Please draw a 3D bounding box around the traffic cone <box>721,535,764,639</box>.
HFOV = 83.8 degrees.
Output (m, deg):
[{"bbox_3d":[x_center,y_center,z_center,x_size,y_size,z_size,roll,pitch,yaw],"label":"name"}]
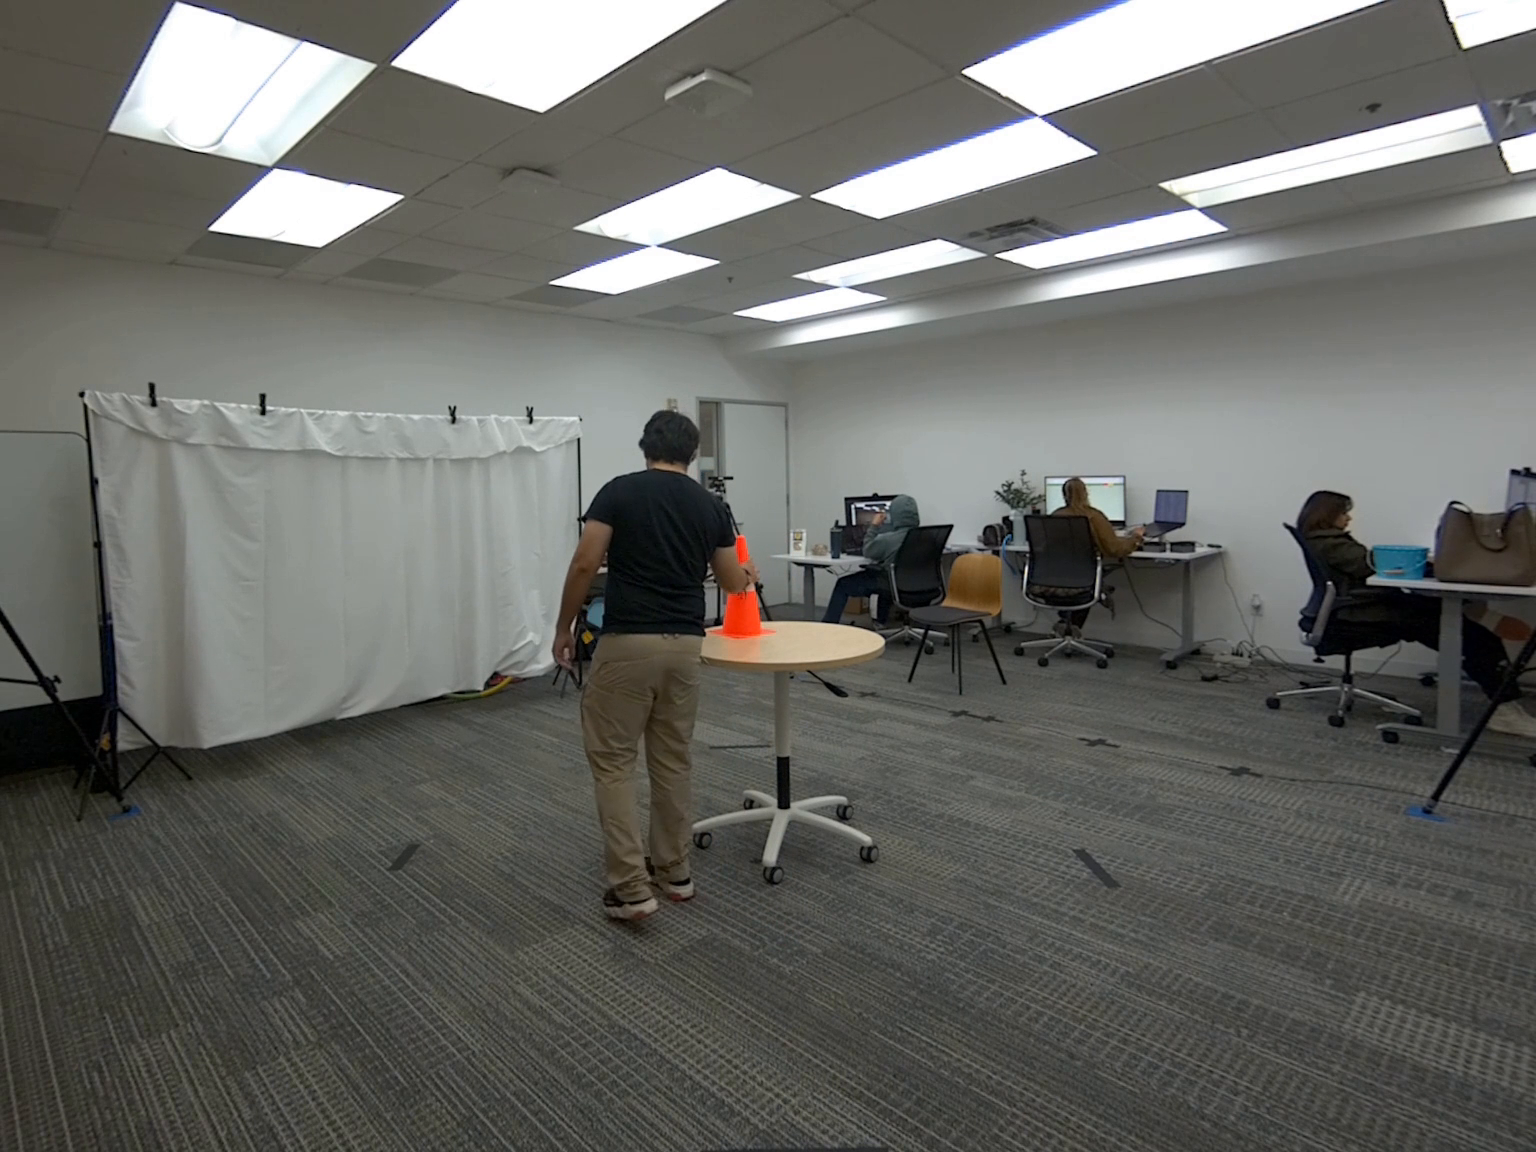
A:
[{"bbox_3d":[-0.110,0.033,3.360,0.209,0.382,0.200,3,7,39],"label":"traffic cone"}]
